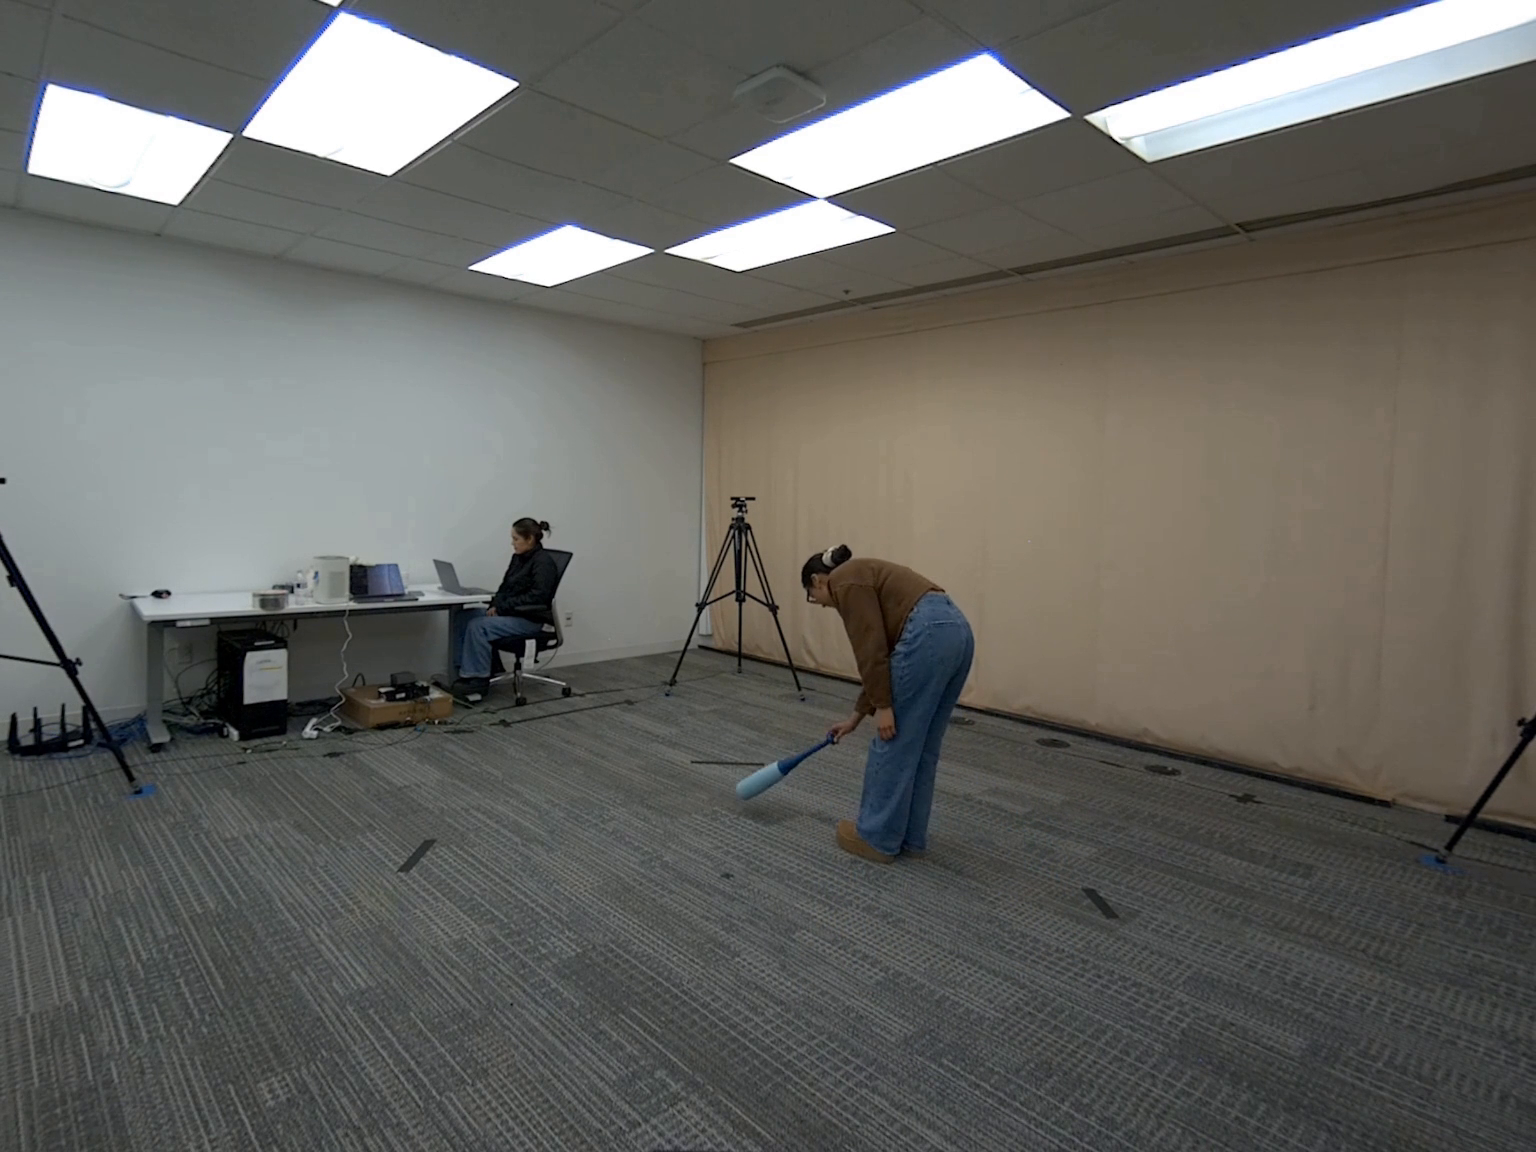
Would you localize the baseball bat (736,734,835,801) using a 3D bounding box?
[{"bbox_3d":[0.084,0.834,3.637,0.545,0.090,0.087,-36,-14,26],"label":"baseball bat"}]
